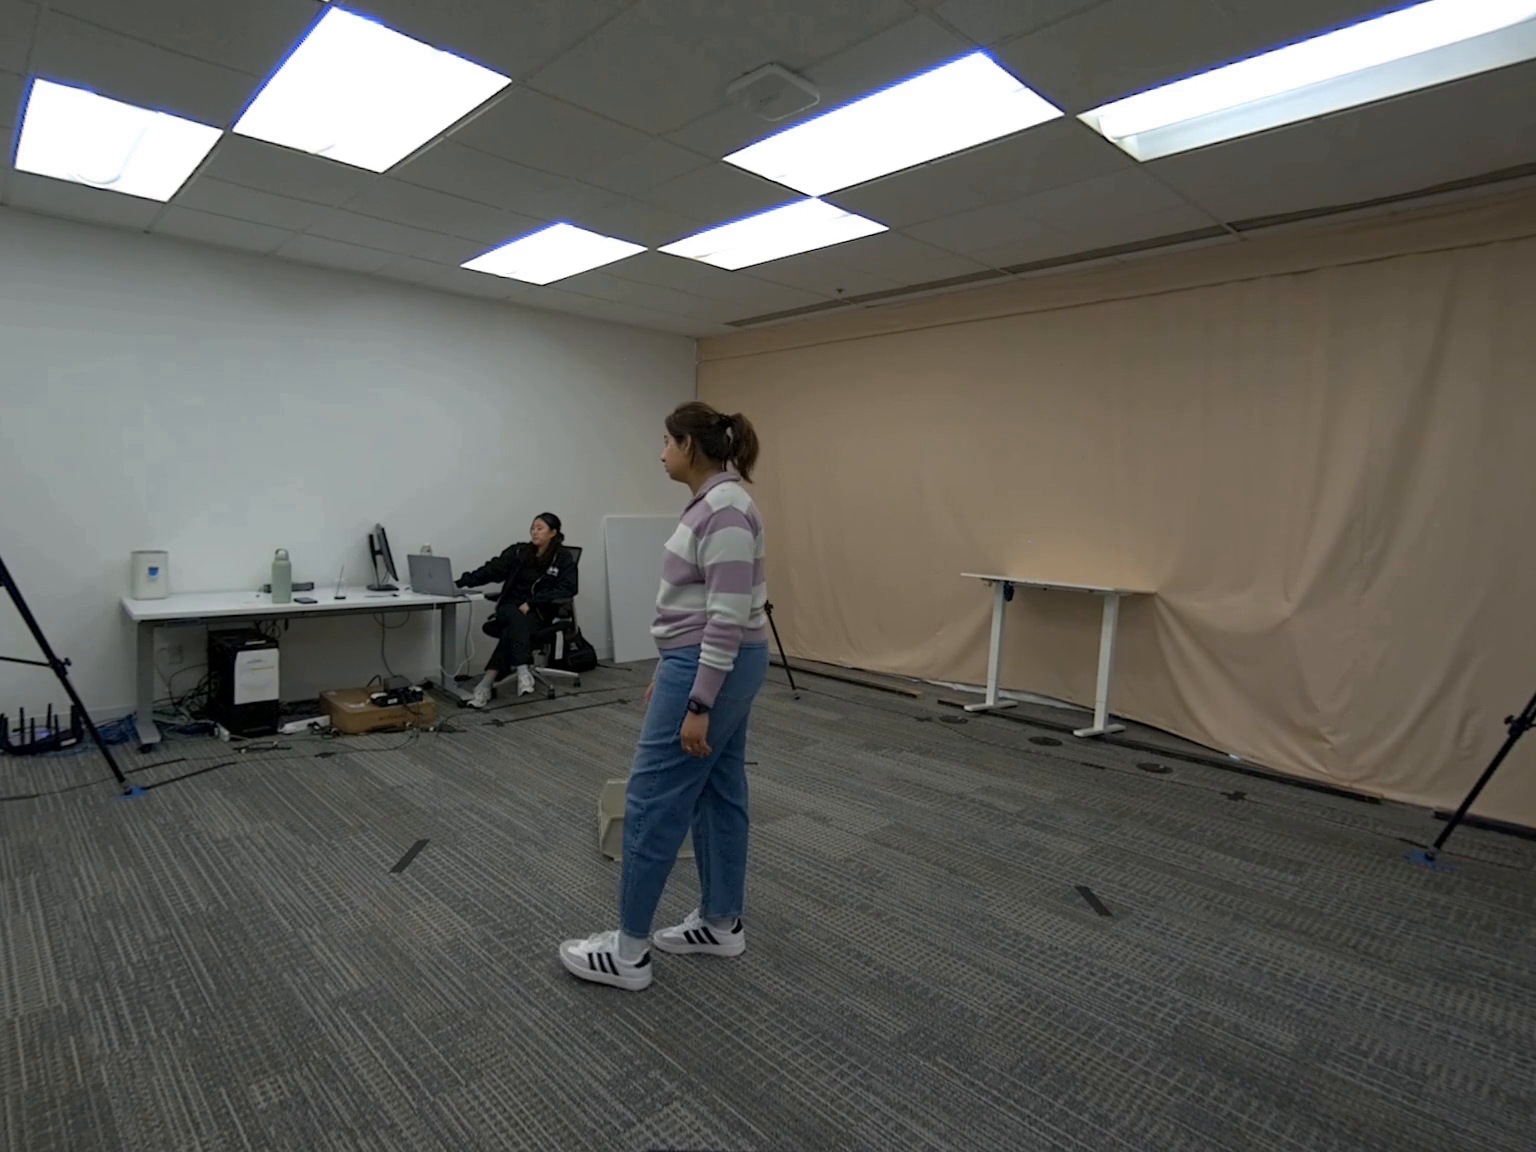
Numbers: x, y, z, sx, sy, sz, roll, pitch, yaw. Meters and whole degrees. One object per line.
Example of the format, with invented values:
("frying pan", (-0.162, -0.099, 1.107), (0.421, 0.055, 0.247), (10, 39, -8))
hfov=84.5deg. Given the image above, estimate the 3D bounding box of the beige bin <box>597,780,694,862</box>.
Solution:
("beige bin", (-0.500, 0.980, 3.418), (0.374, 0.188, 0.427), (1, 4, -12))
